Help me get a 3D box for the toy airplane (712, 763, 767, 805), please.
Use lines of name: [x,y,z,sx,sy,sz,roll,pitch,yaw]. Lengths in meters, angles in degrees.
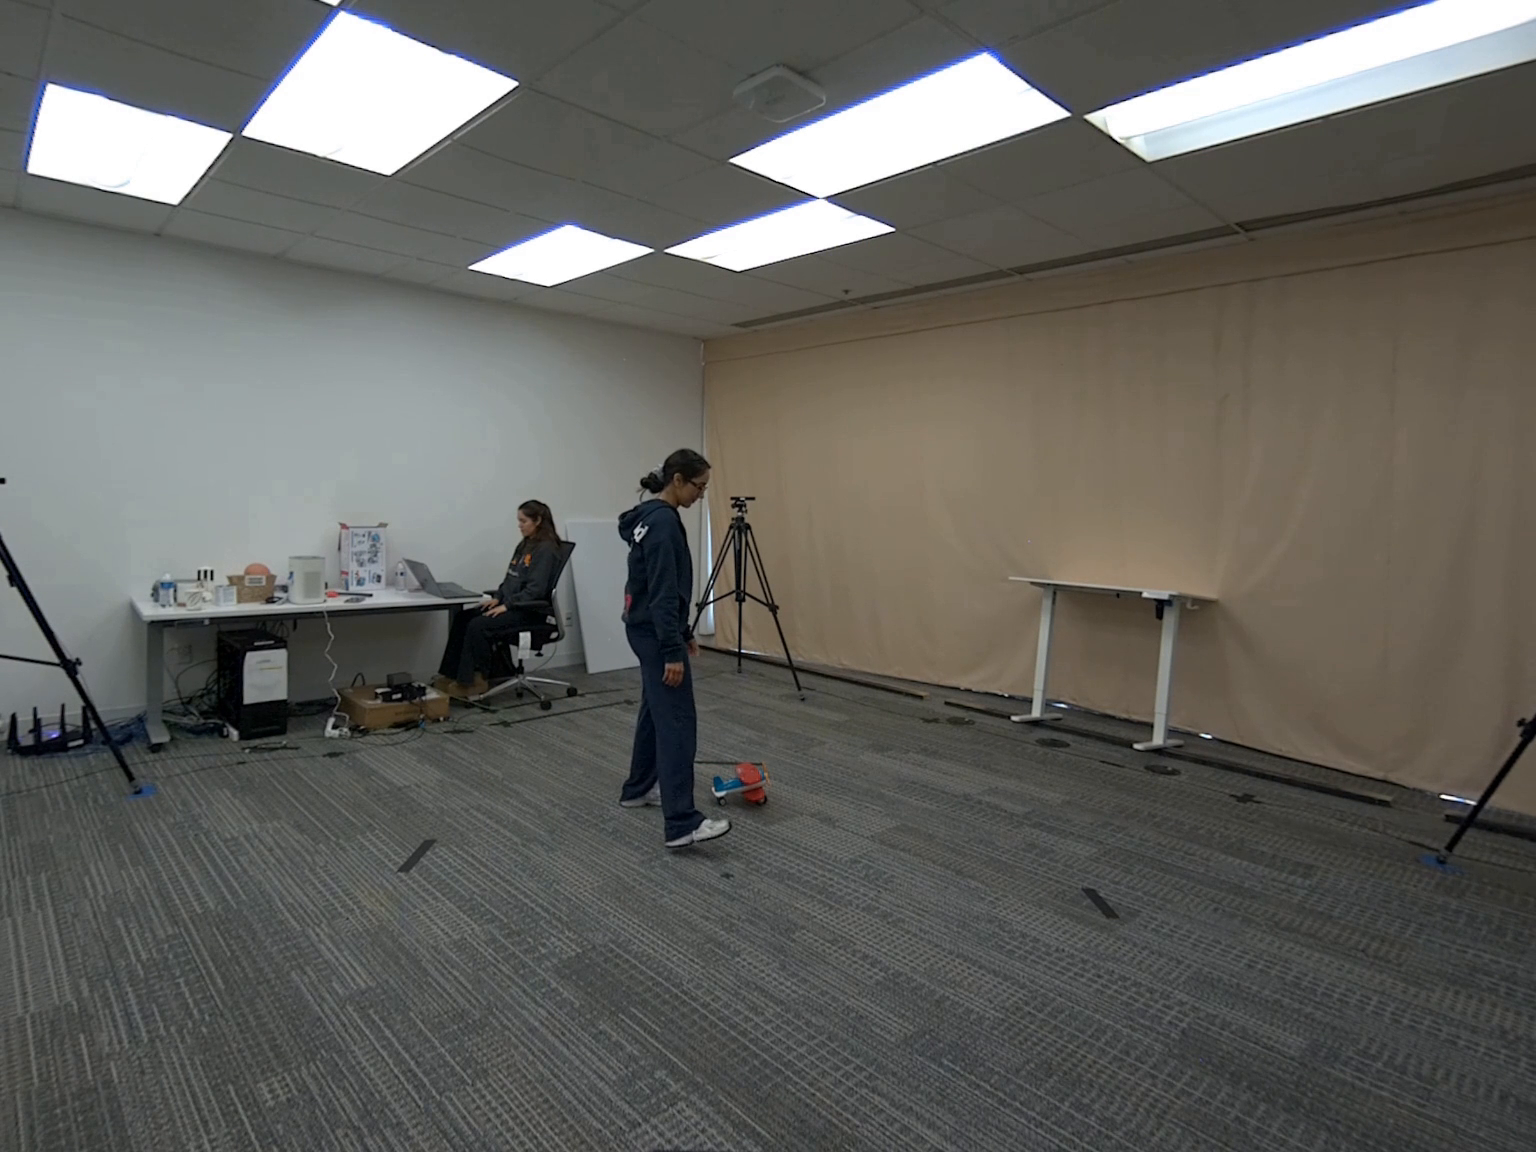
toy airplane: [-0.132,0.967,3.851,0.253,0.156,0.257,0,4,-44]
